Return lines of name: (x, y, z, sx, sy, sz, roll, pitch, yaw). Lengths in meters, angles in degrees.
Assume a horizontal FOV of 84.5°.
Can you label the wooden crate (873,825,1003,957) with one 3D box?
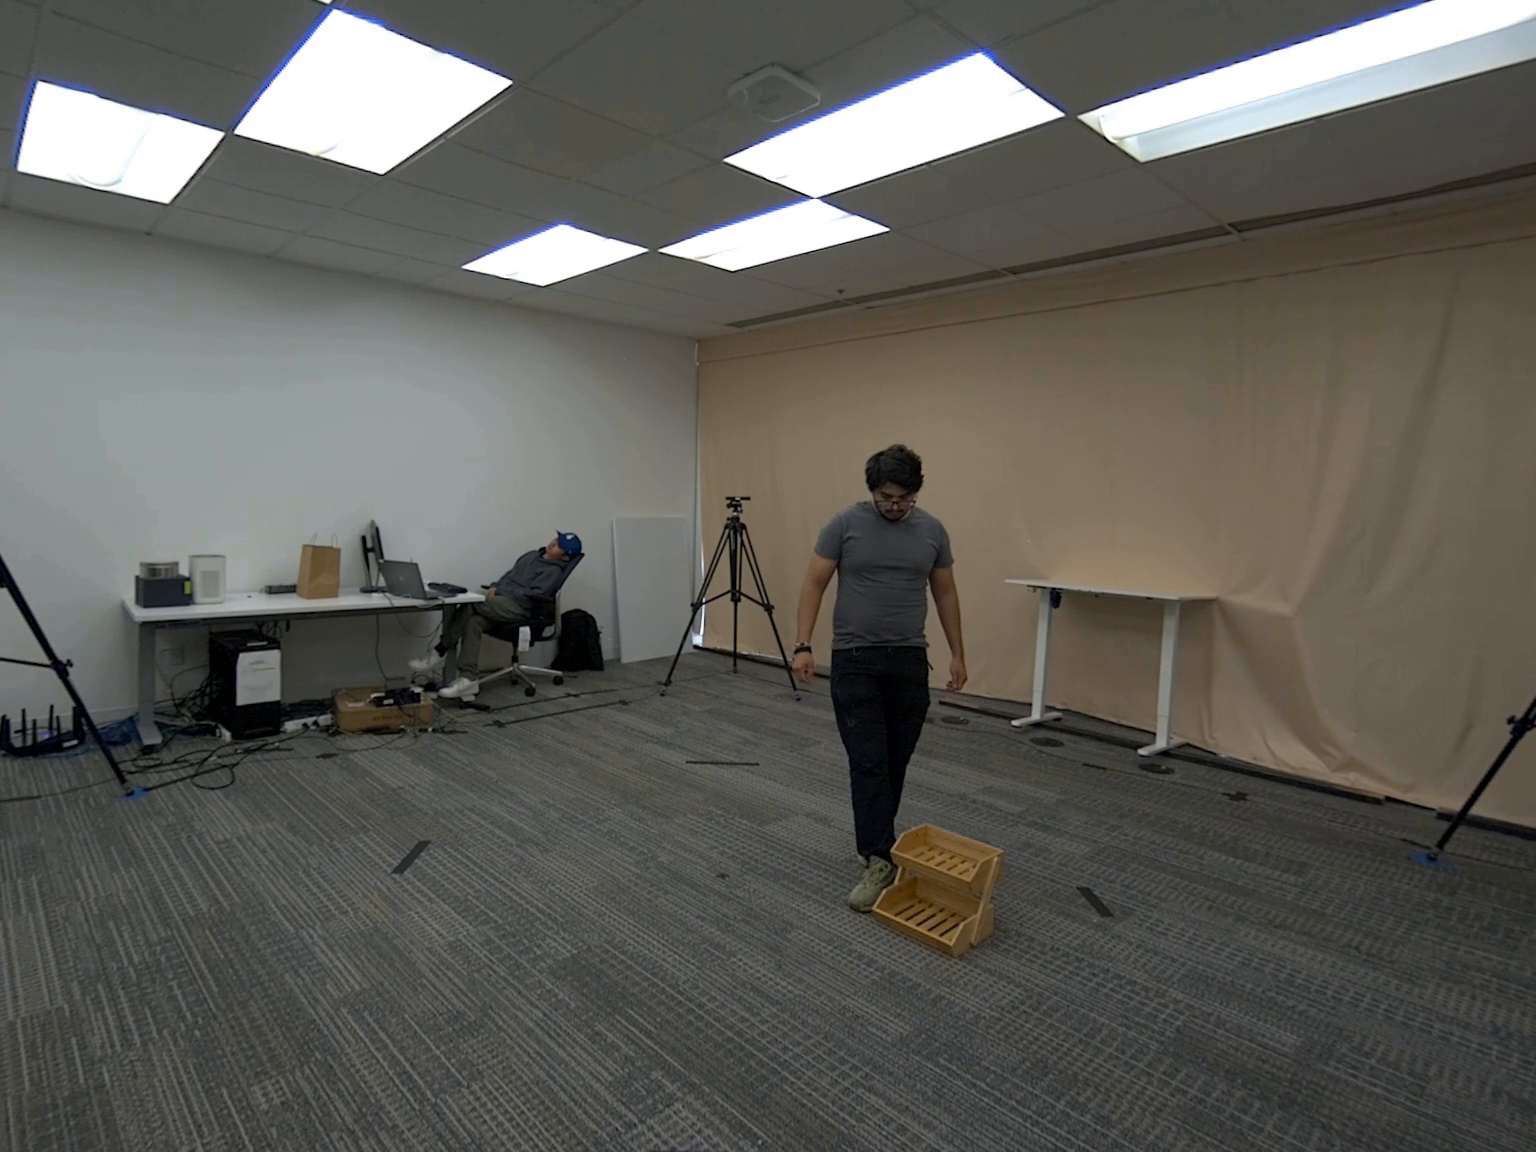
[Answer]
wooden crate: (0.553, 1.021, 2.768, 0.333, 0.273, 0.295, 5, 5, 44)
